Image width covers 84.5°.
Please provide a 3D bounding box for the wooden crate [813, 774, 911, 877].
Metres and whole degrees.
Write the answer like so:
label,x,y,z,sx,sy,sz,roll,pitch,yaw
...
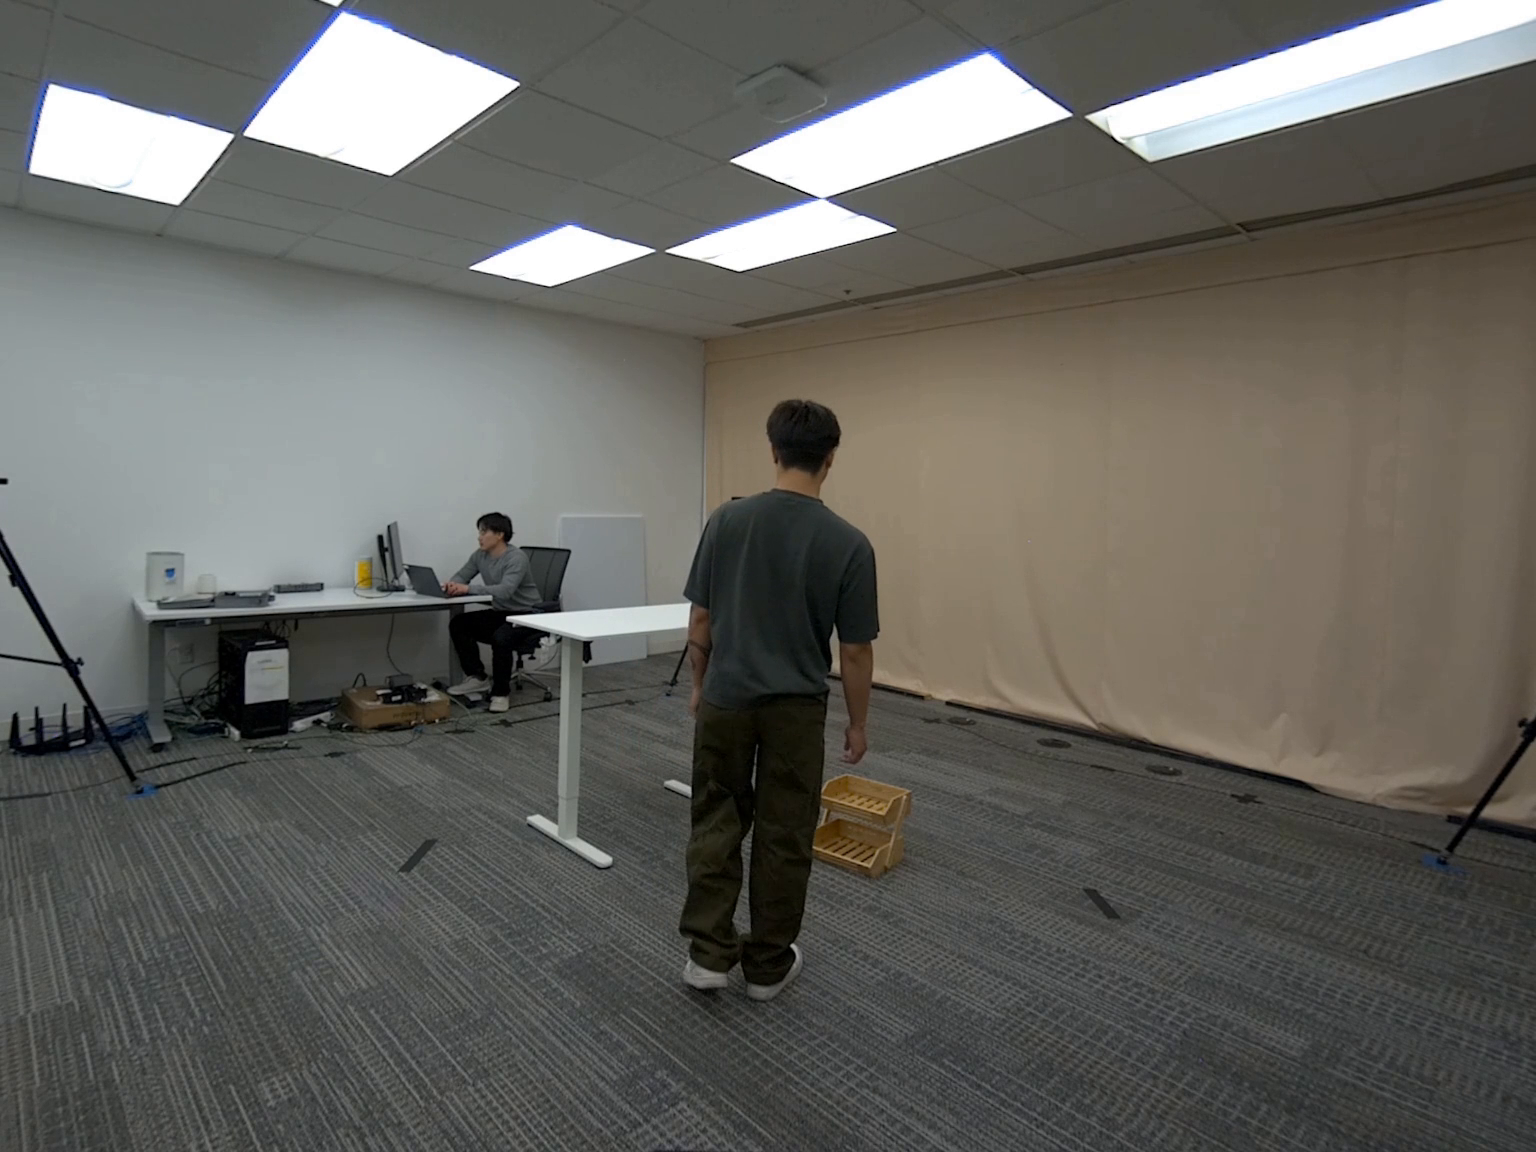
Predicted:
label,x,y,z,sx,sy,sz,roll,pitch,yaw
wooden crate,0.345,0.965,3.300,0.332,0.273,0.295,4,4,39
